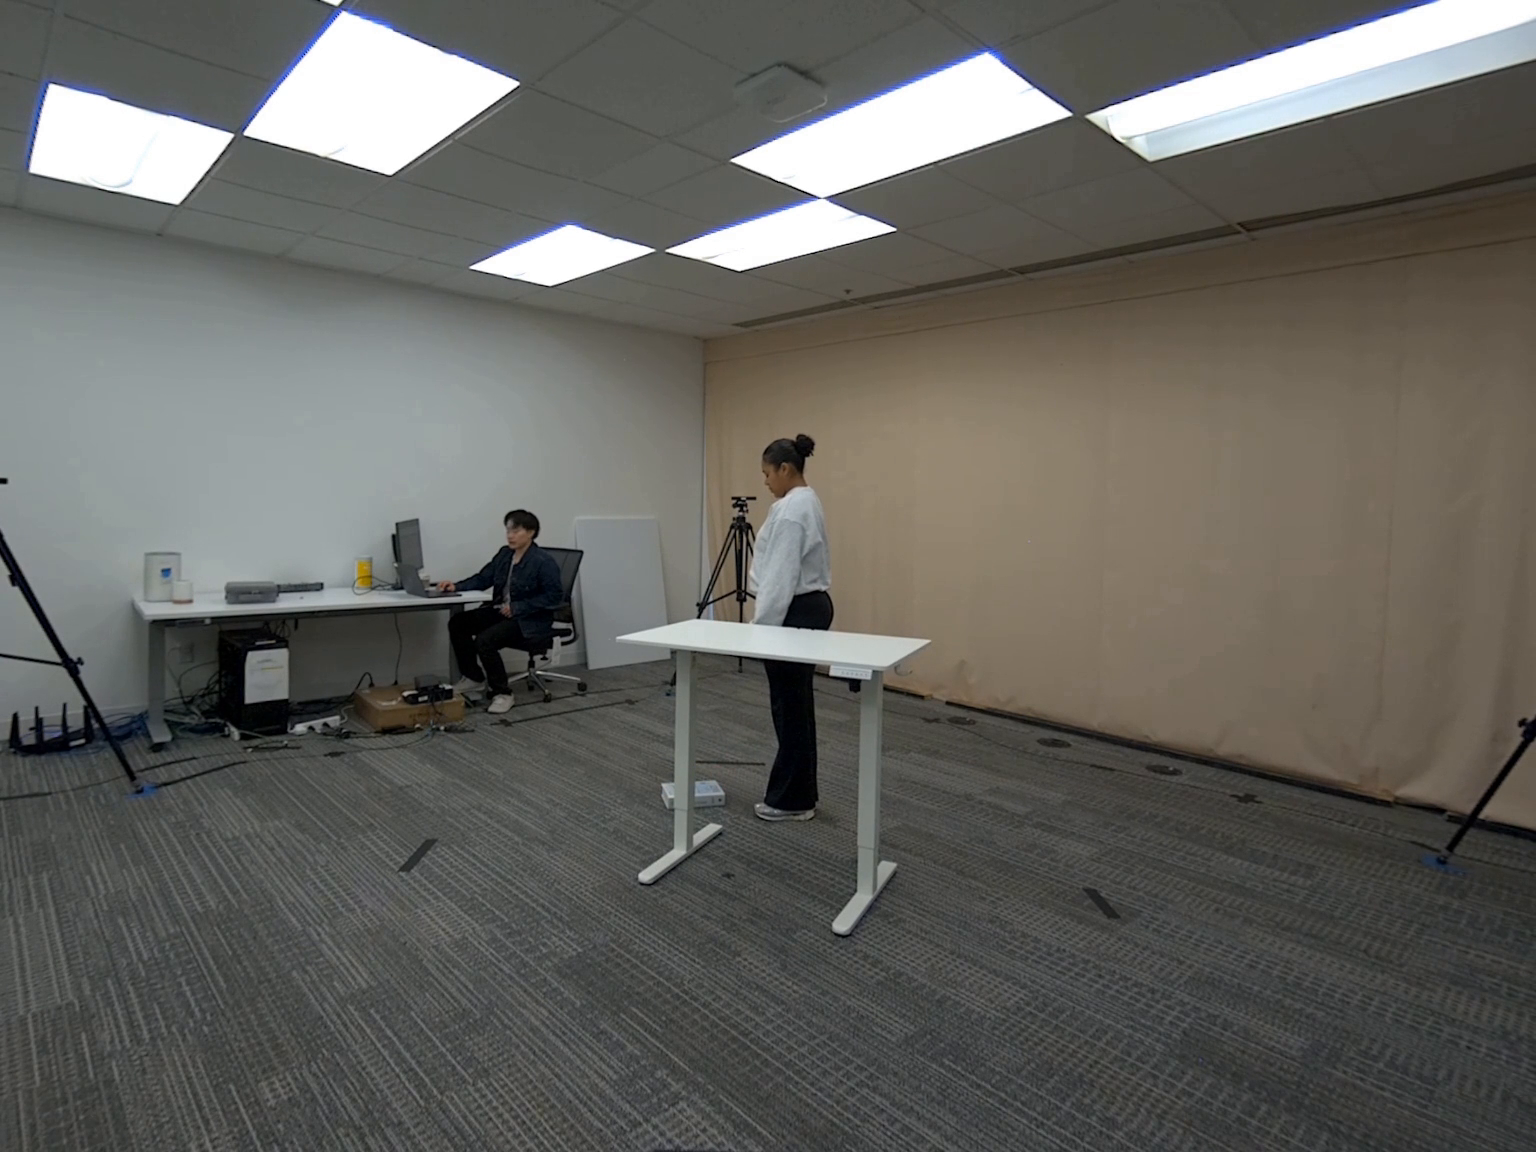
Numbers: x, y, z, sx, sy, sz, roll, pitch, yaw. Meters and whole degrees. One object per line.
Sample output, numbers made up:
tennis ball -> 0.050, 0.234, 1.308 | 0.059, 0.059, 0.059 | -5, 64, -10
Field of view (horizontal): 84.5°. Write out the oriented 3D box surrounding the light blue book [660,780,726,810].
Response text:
light blue book -> -0.349, 0.996, 3.861 | 0.258, 0.059, 0.194 | 0, 5, -15
